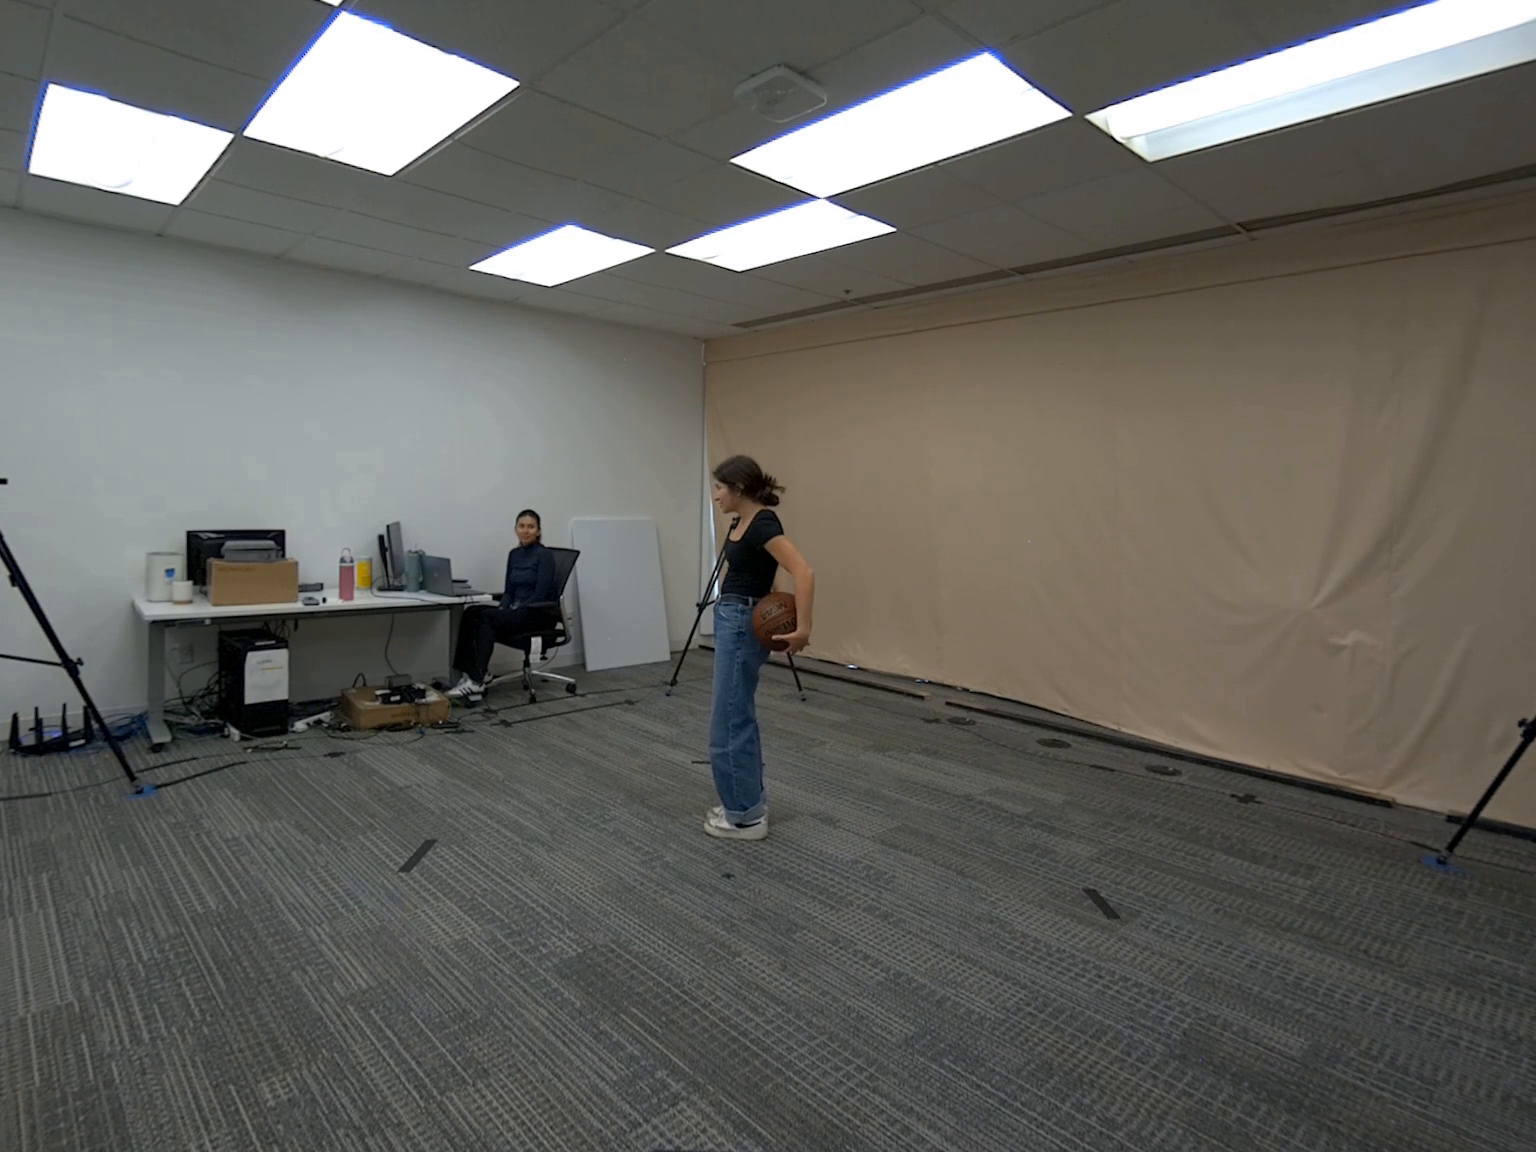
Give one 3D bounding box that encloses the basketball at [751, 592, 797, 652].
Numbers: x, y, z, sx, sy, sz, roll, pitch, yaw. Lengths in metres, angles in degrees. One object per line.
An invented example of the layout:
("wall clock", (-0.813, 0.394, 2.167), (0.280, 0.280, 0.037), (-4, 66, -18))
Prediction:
("basketball", (0.047, 0.179, 3.331), (0.236, 0.235, 0.237), (1, 4, -1))
